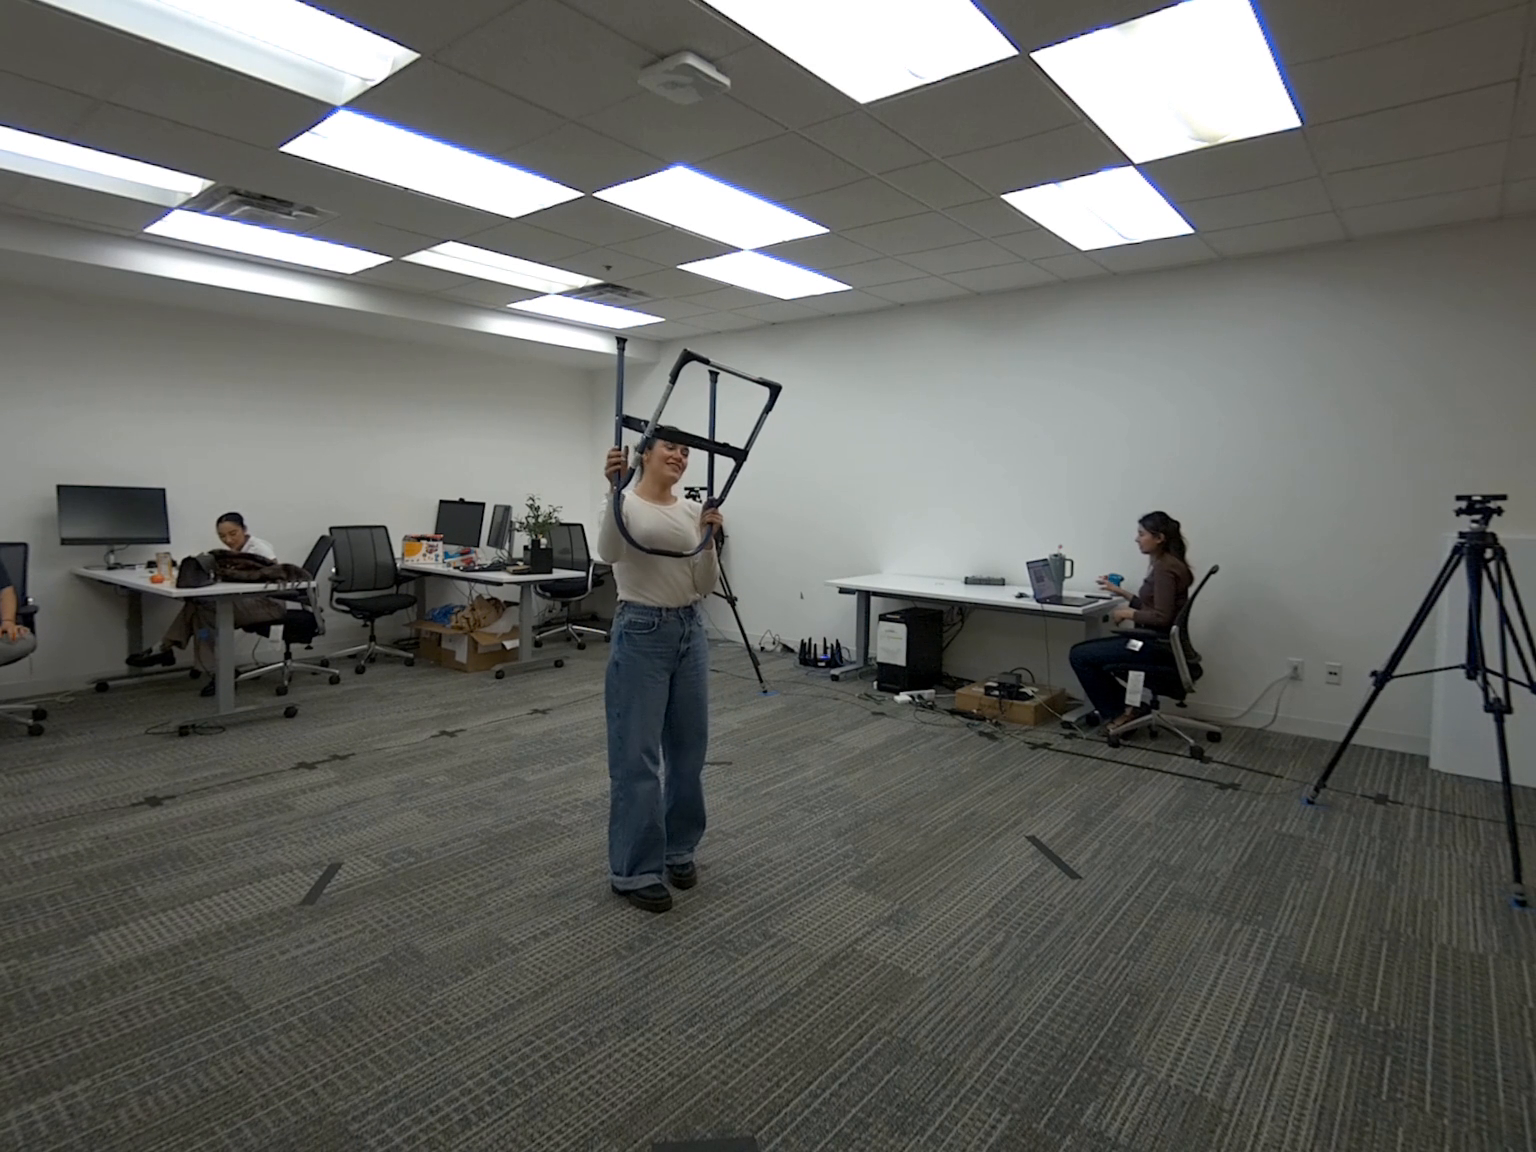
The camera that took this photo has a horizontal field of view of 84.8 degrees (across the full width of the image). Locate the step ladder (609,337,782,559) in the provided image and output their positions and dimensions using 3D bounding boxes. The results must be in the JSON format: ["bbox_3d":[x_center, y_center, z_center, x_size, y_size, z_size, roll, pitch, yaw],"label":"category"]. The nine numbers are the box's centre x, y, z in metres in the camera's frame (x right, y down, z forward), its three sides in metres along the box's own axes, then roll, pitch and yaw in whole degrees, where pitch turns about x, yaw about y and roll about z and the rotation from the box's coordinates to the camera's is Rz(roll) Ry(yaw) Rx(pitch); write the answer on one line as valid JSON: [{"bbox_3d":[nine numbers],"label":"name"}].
[{"bbox_3d":[-0.297,-0.374,2.646,0.415,0.604,0.363,10,8,-45],"label":"step ladder"}]
